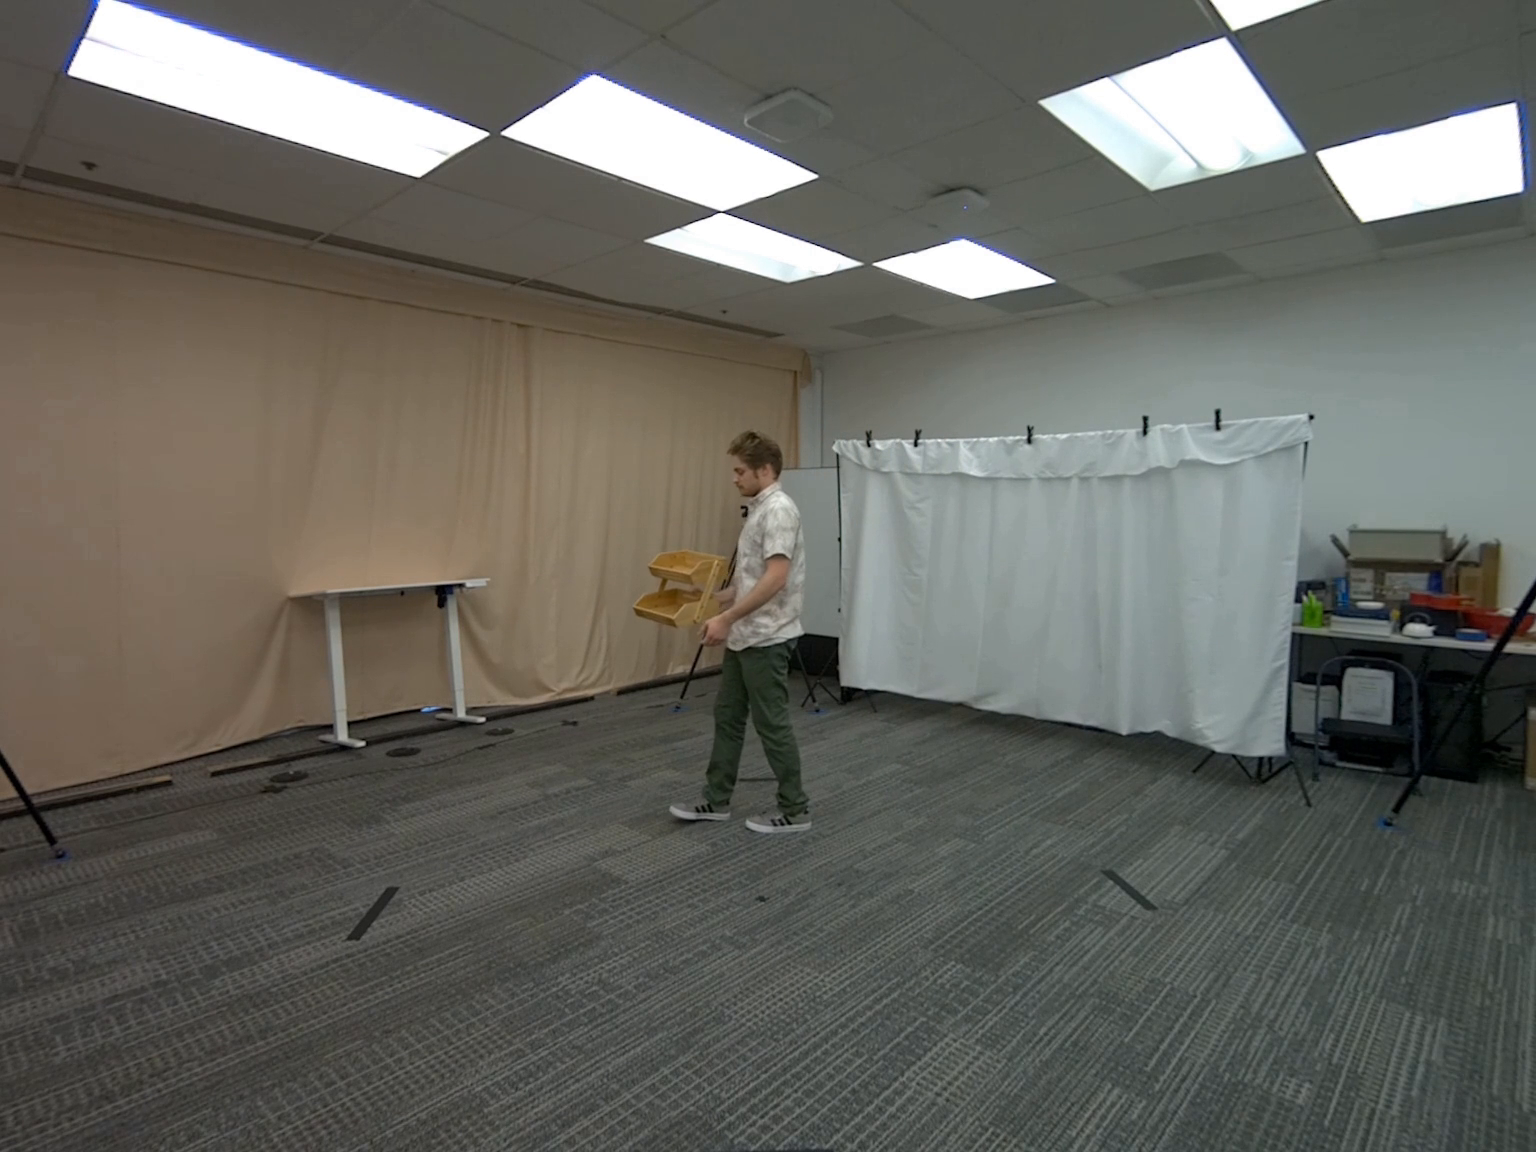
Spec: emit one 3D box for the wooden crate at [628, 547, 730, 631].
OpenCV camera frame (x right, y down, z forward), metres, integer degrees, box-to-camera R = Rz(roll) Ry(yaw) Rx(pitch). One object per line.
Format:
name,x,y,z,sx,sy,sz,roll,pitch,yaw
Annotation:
wooden crate,-0.387,0.044,3.671,0.293,0.271,0.336,-10,14,-41
